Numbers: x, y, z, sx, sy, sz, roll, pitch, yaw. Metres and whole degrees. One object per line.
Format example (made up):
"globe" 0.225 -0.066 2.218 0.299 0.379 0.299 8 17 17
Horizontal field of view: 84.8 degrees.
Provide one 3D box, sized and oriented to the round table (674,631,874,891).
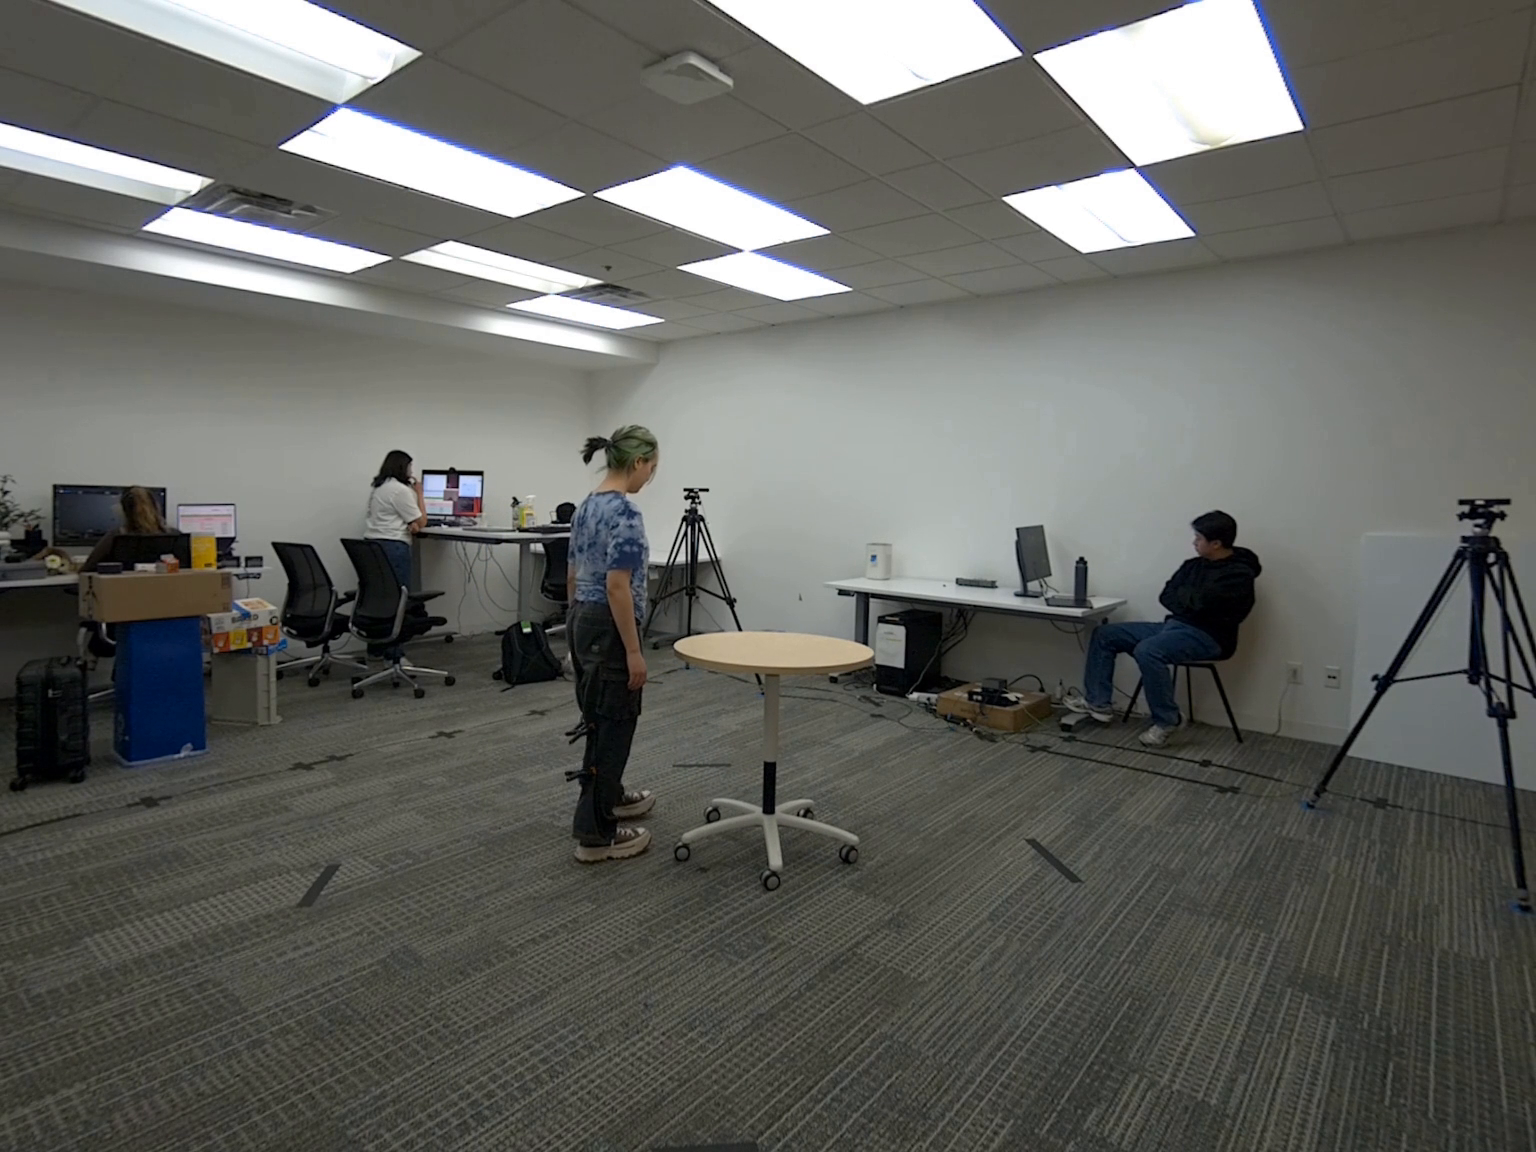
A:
"round table" -0.003 0.669 3.287 0.763 0.791 0.768 1 4 -2
